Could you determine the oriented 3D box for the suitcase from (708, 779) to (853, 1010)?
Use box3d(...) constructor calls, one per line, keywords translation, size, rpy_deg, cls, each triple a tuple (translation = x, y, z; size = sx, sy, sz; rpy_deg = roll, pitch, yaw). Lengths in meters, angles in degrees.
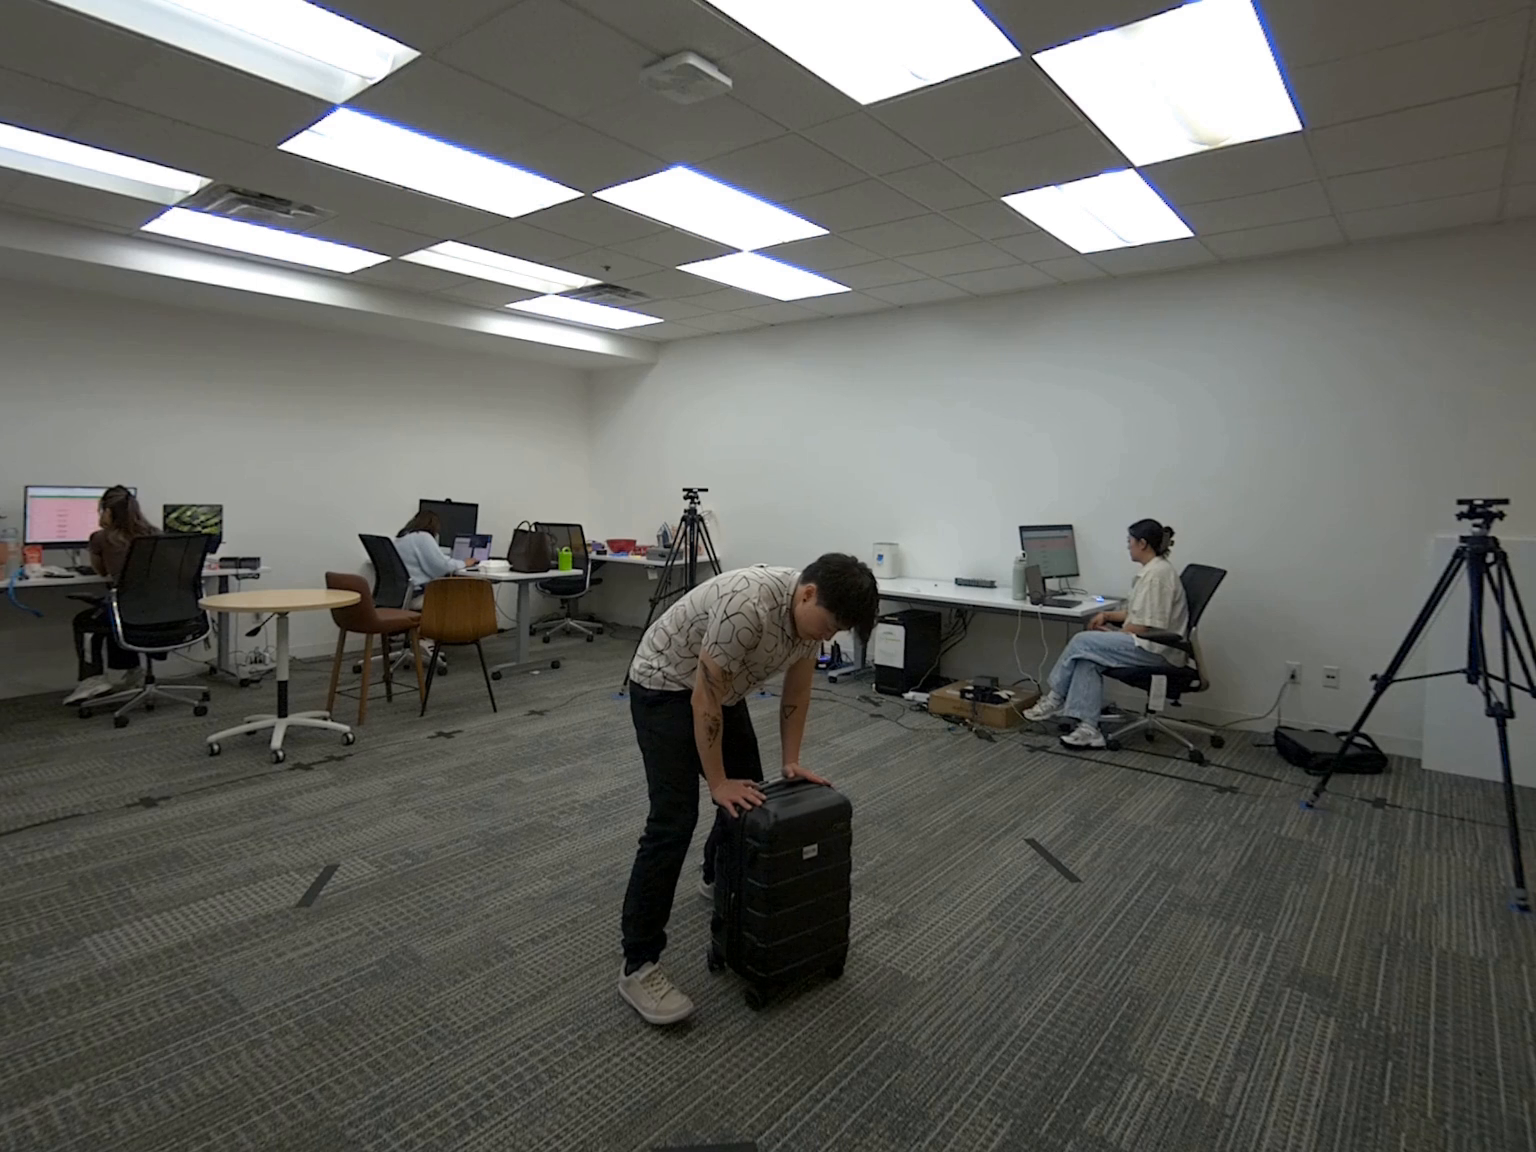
box3d(translation=(0.045, 0.871, 2.430), size=(0.364, 0.547, 0.257), rpy_deg=(-1, 6, -37), cls="suitcase")
